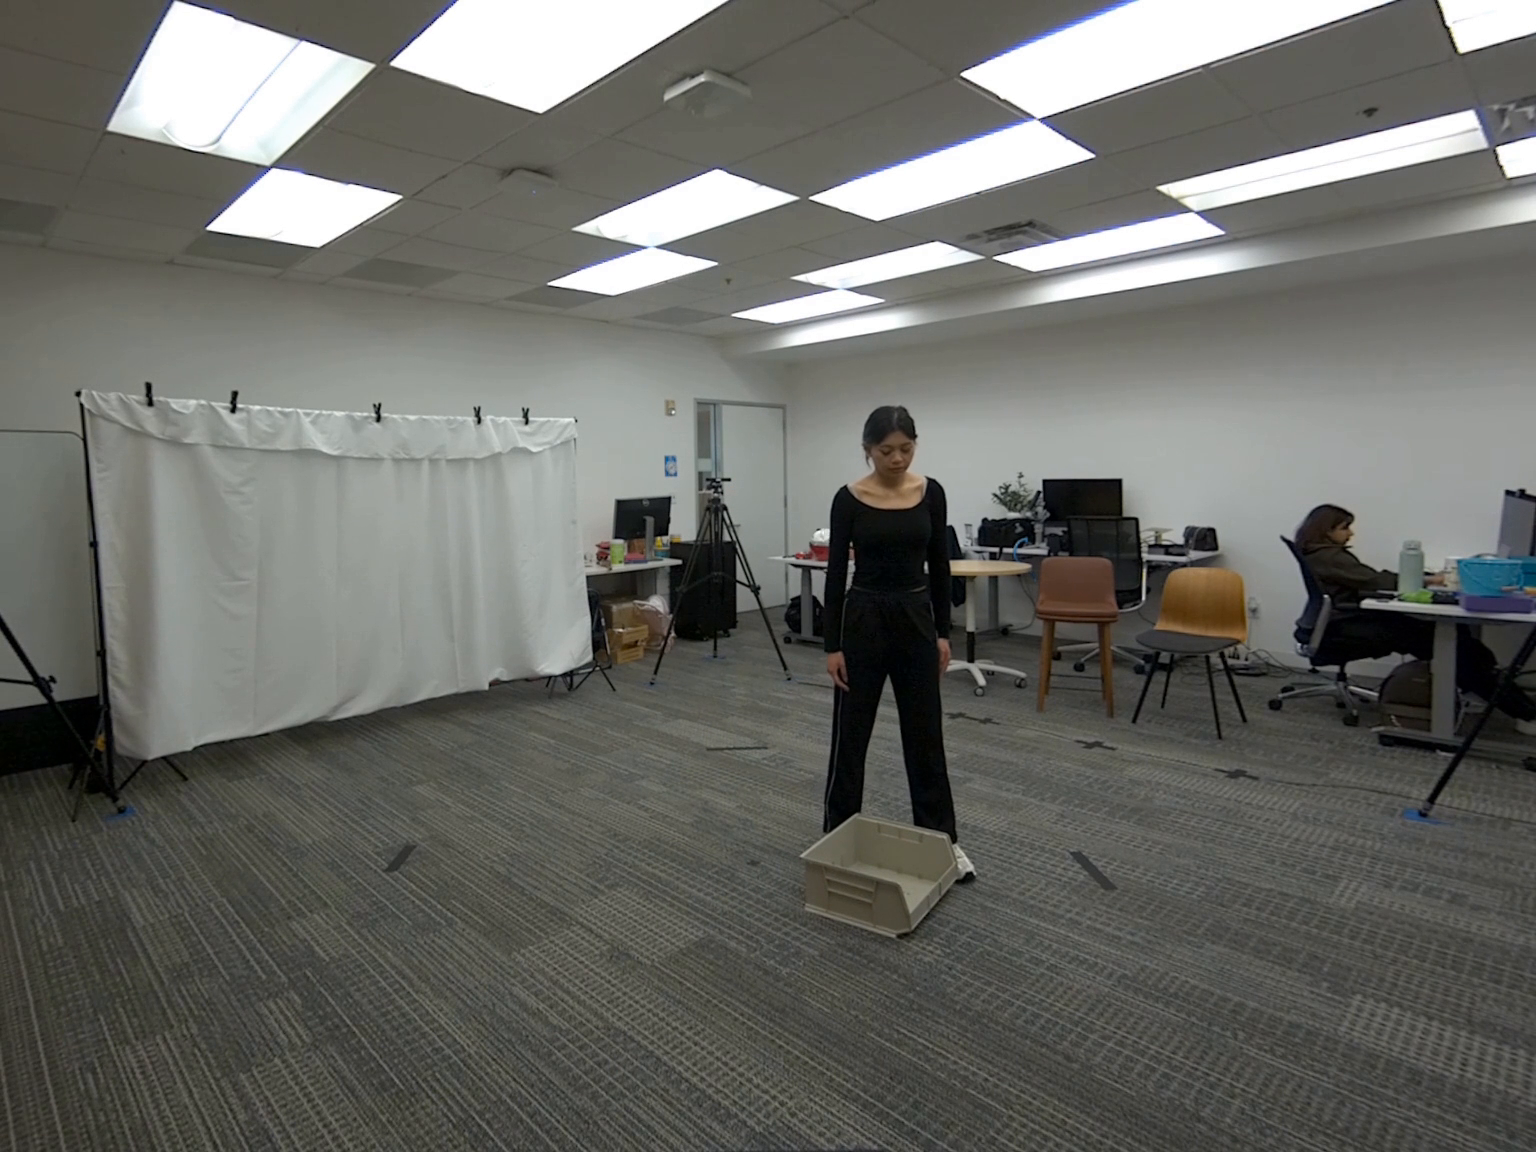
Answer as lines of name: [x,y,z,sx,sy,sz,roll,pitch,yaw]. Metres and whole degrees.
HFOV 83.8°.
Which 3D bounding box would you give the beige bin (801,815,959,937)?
beige bin: [0.376,0.979,2.815,0.388,0.188,0.412,1,6,34]
